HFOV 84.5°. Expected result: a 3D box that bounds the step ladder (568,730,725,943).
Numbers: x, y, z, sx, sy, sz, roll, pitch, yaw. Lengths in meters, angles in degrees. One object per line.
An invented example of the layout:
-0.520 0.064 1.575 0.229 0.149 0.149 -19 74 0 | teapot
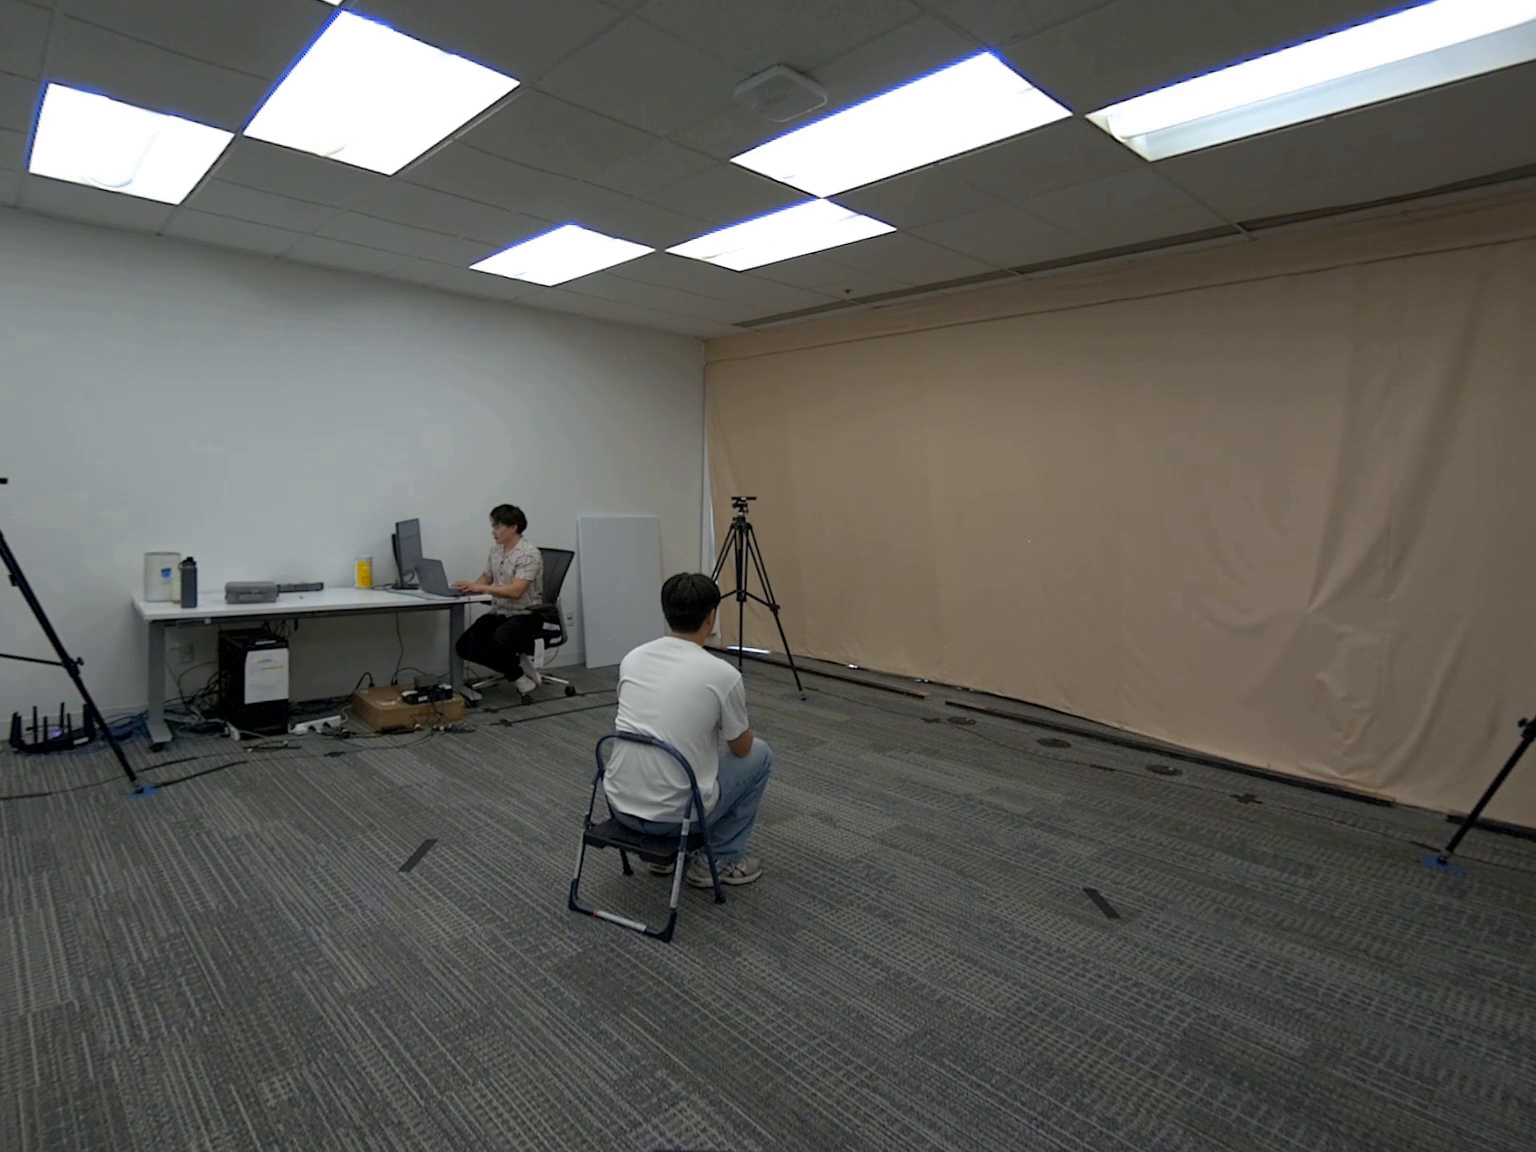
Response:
-0.418 0.825 2.849 0.440 0.604 0.343 2 4 29 | step ladder
